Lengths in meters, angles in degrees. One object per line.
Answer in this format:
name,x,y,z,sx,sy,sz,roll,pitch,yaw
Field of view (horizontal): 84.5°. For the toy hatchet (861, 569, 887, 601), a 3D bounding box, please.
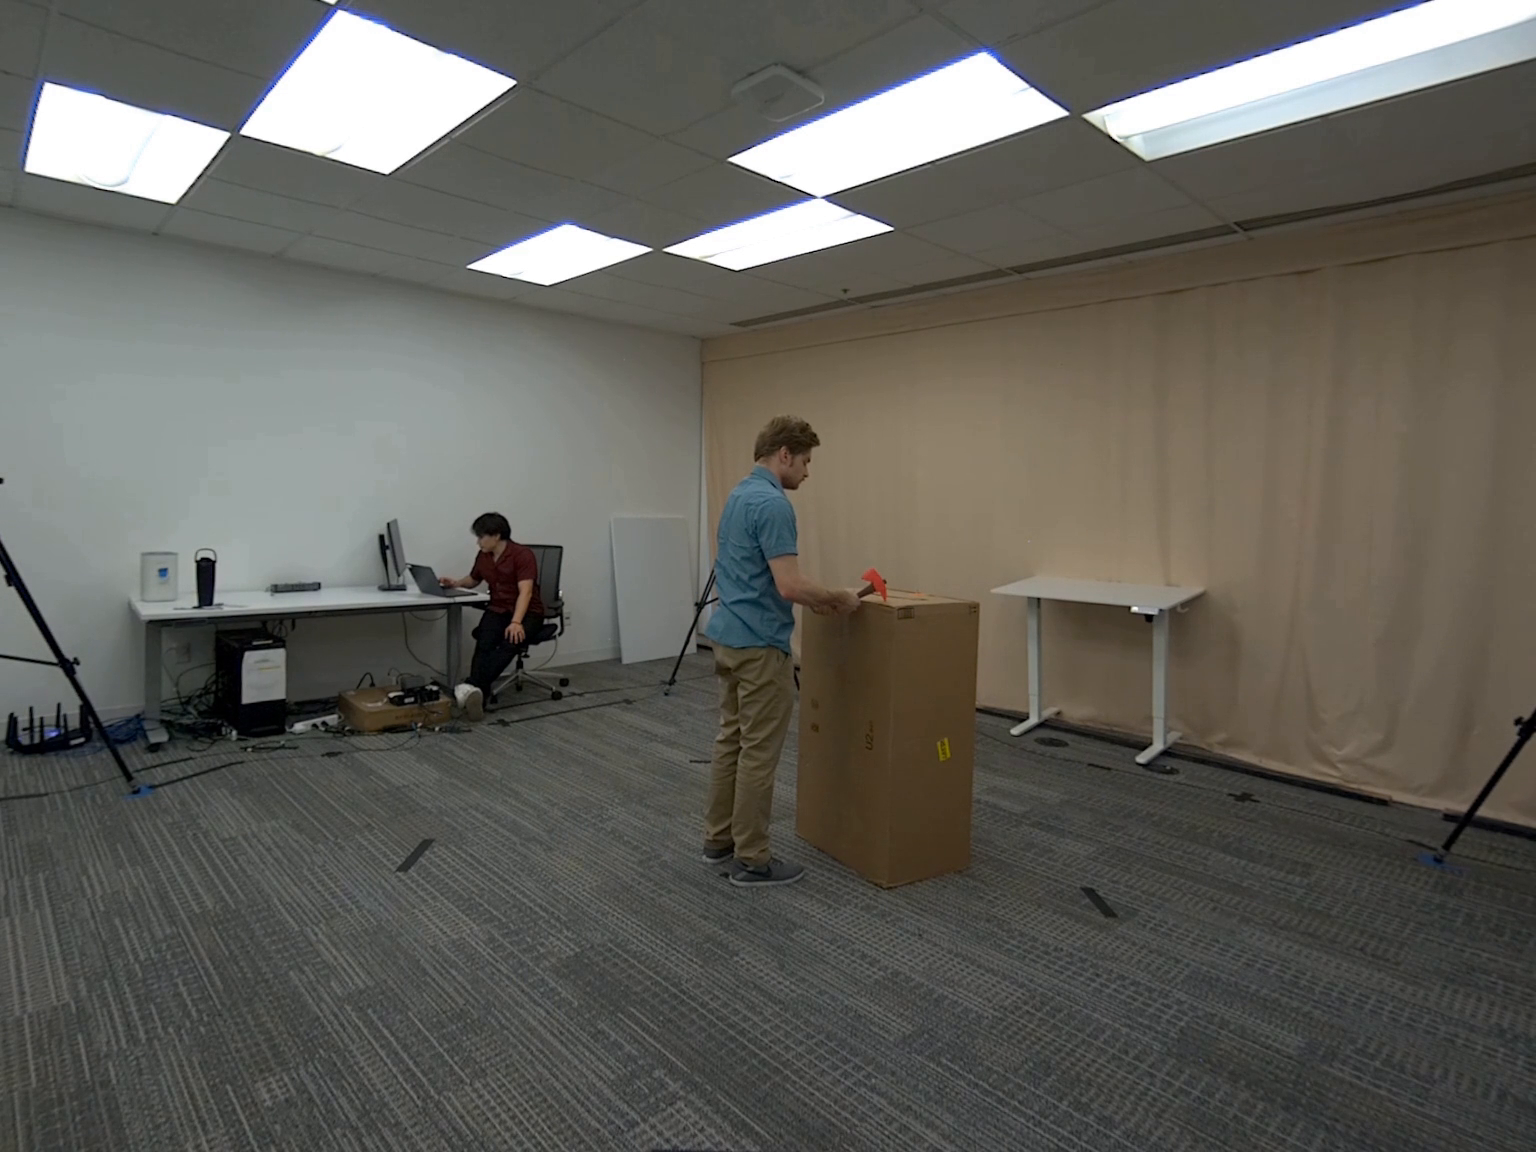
toy hatchet,0.301,0.041,3.101,0.268,0.130,0.030,-6,7,-9
